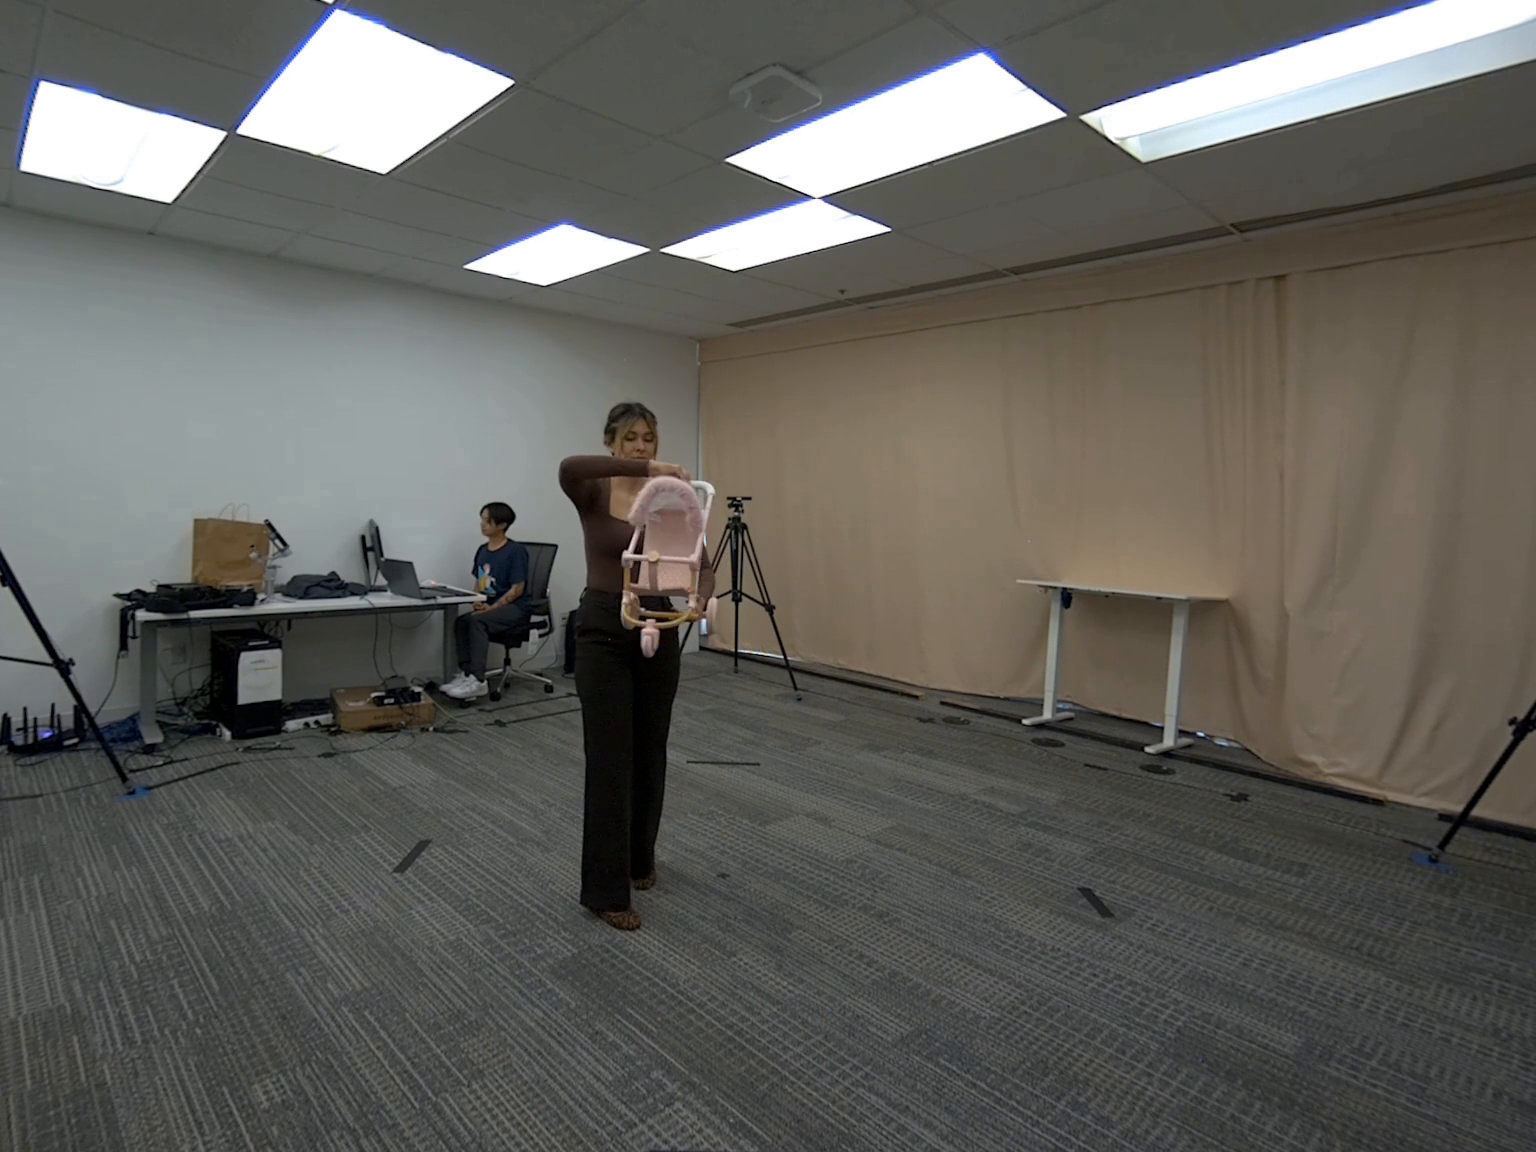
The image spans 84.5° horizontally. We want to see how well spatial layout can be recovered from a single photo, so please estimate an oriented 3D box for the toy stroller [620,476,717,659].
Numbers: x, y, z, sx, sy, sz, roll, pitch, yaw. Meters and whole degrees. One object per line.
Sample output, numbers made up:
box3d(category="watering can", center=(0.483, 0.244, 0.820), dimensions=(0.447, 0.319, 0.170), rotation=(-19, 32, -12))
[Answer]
box3d(category="toy stroller", center=(-0.302, -0.041, 2.403), dimensions=(0.284, 0.537, 0.337), rotation=(4, -5, 9))
